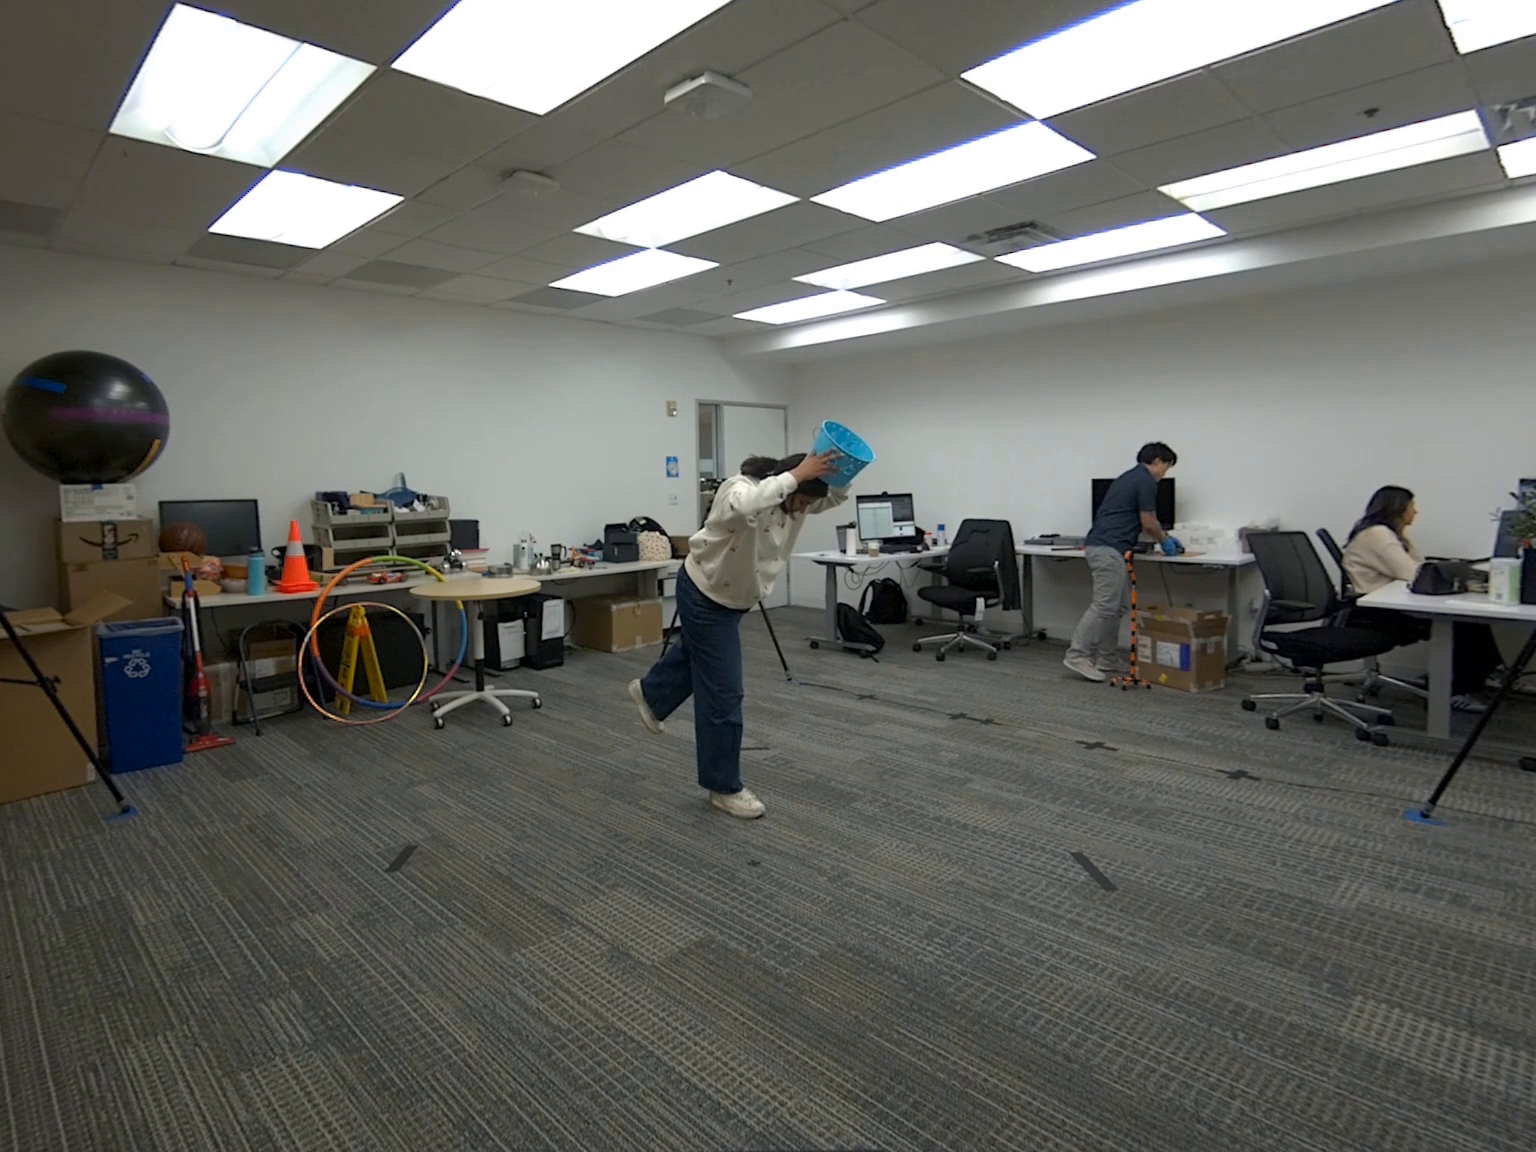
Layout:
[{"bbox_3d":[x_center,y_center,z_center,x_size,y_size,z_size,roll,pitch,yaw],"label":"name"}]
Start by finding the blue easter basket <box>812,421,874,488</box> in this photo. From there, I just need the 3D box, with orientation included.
[{"bbox_3d":[0.266,-0.443,3.148,0.238,0.155,0.250,24,32,-18],"label":"blue easter basket"}]
